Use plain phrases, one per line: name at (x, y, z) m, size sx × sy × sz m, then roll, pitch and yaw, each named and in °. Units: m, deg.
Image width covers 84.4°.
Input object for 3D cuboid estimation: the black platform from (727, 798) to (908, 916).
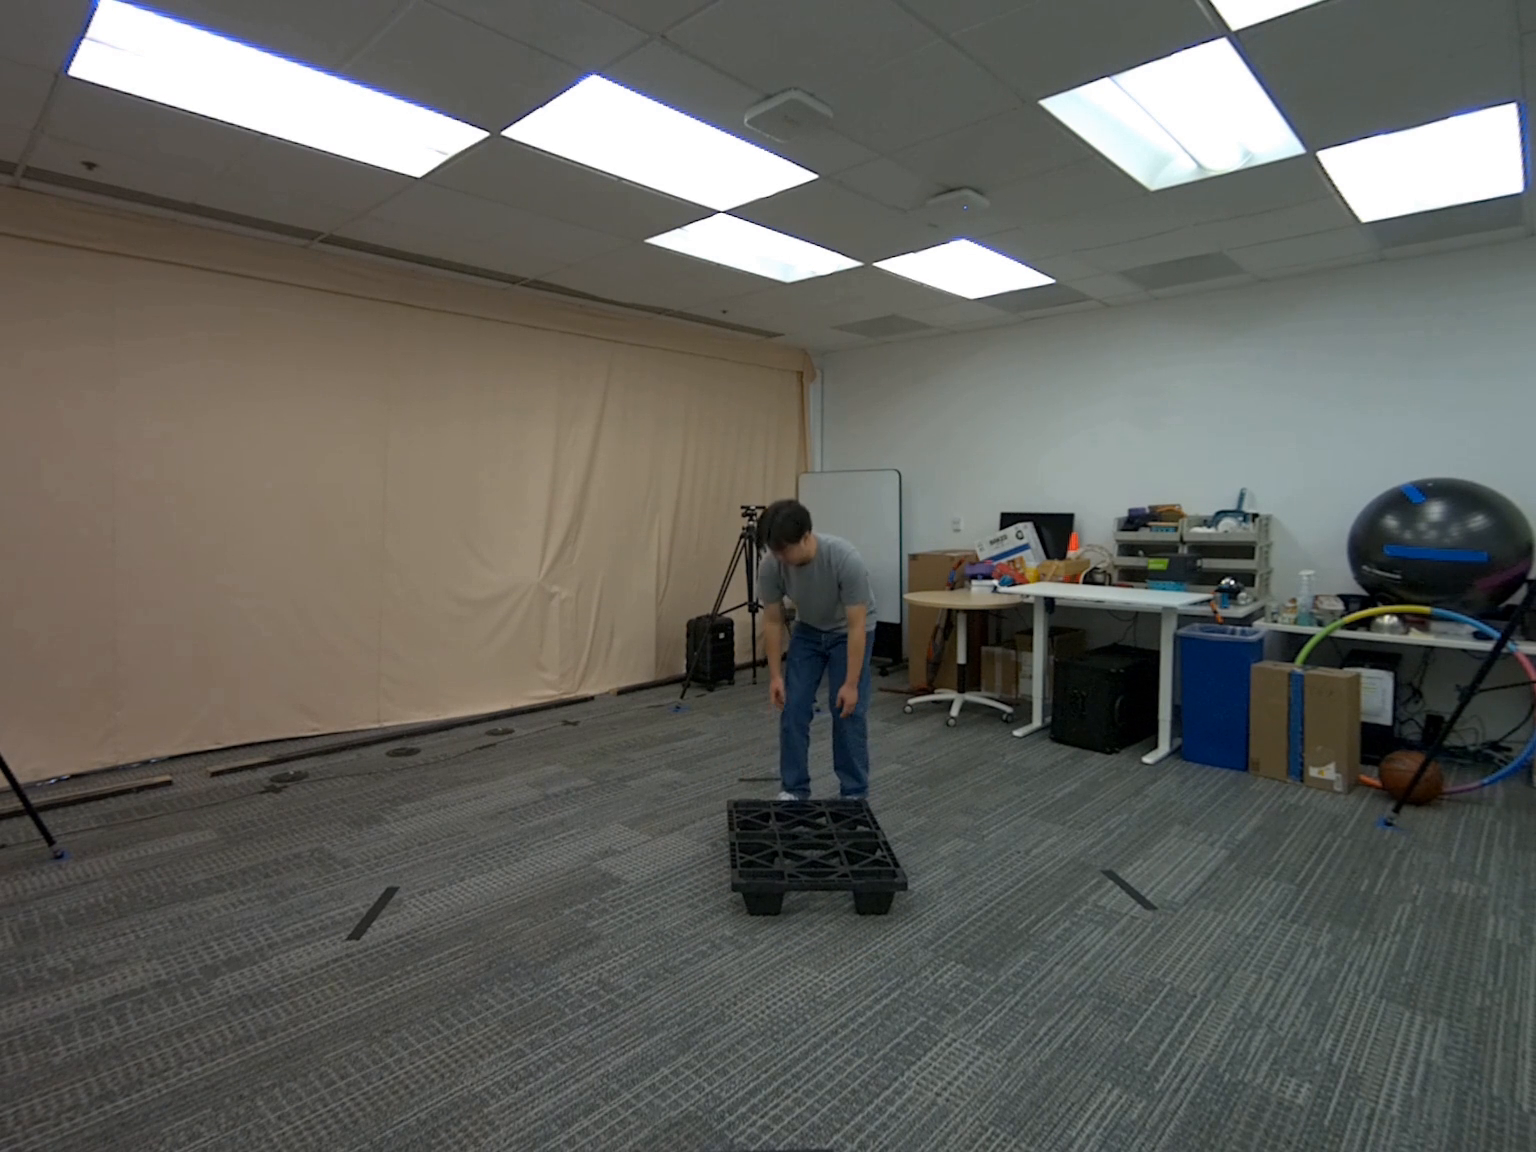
black platform at (0.144, 1.056, 3.214) m, size 0.604 × 0.143 × 0.809 m, roll -1°, pitch 5°, yaw -3°
